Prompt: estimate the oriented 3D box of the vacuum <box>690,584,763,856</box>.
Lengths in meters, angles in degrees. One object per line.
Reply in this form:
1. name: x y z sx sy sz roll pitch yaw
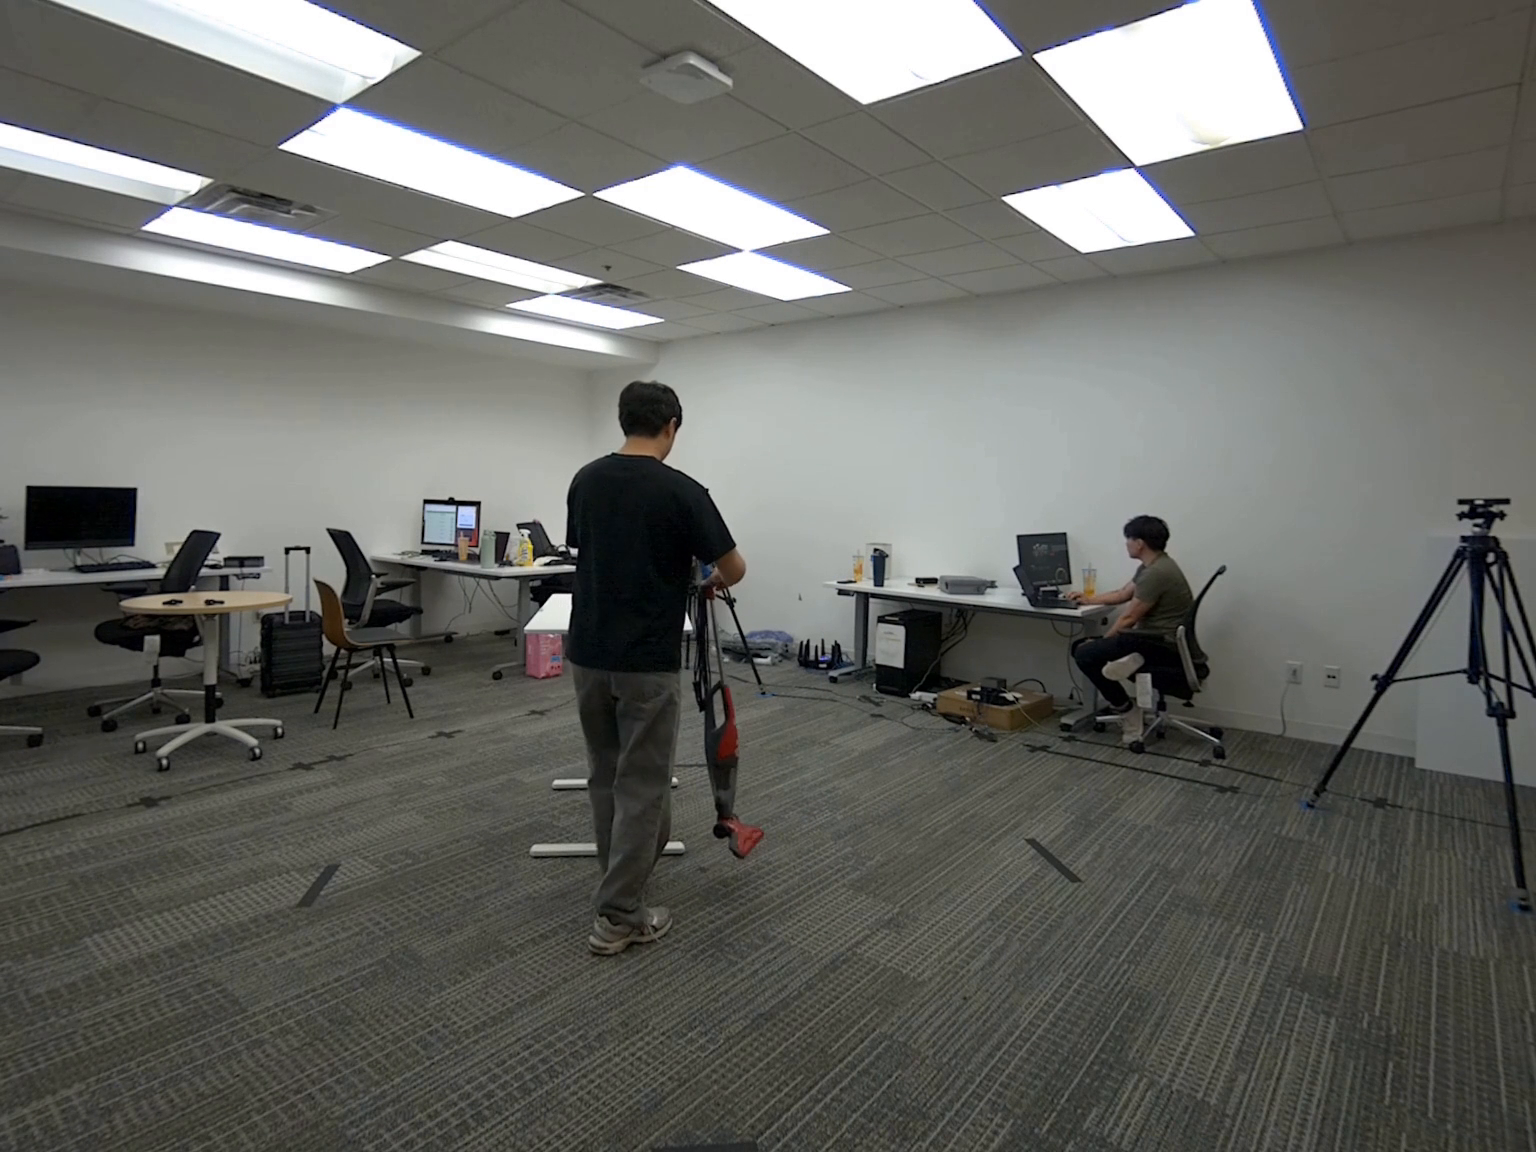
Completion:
1. vacuum: -0.203 0.392 3.004 0.146 1.054 0.247 -11 -4 21
